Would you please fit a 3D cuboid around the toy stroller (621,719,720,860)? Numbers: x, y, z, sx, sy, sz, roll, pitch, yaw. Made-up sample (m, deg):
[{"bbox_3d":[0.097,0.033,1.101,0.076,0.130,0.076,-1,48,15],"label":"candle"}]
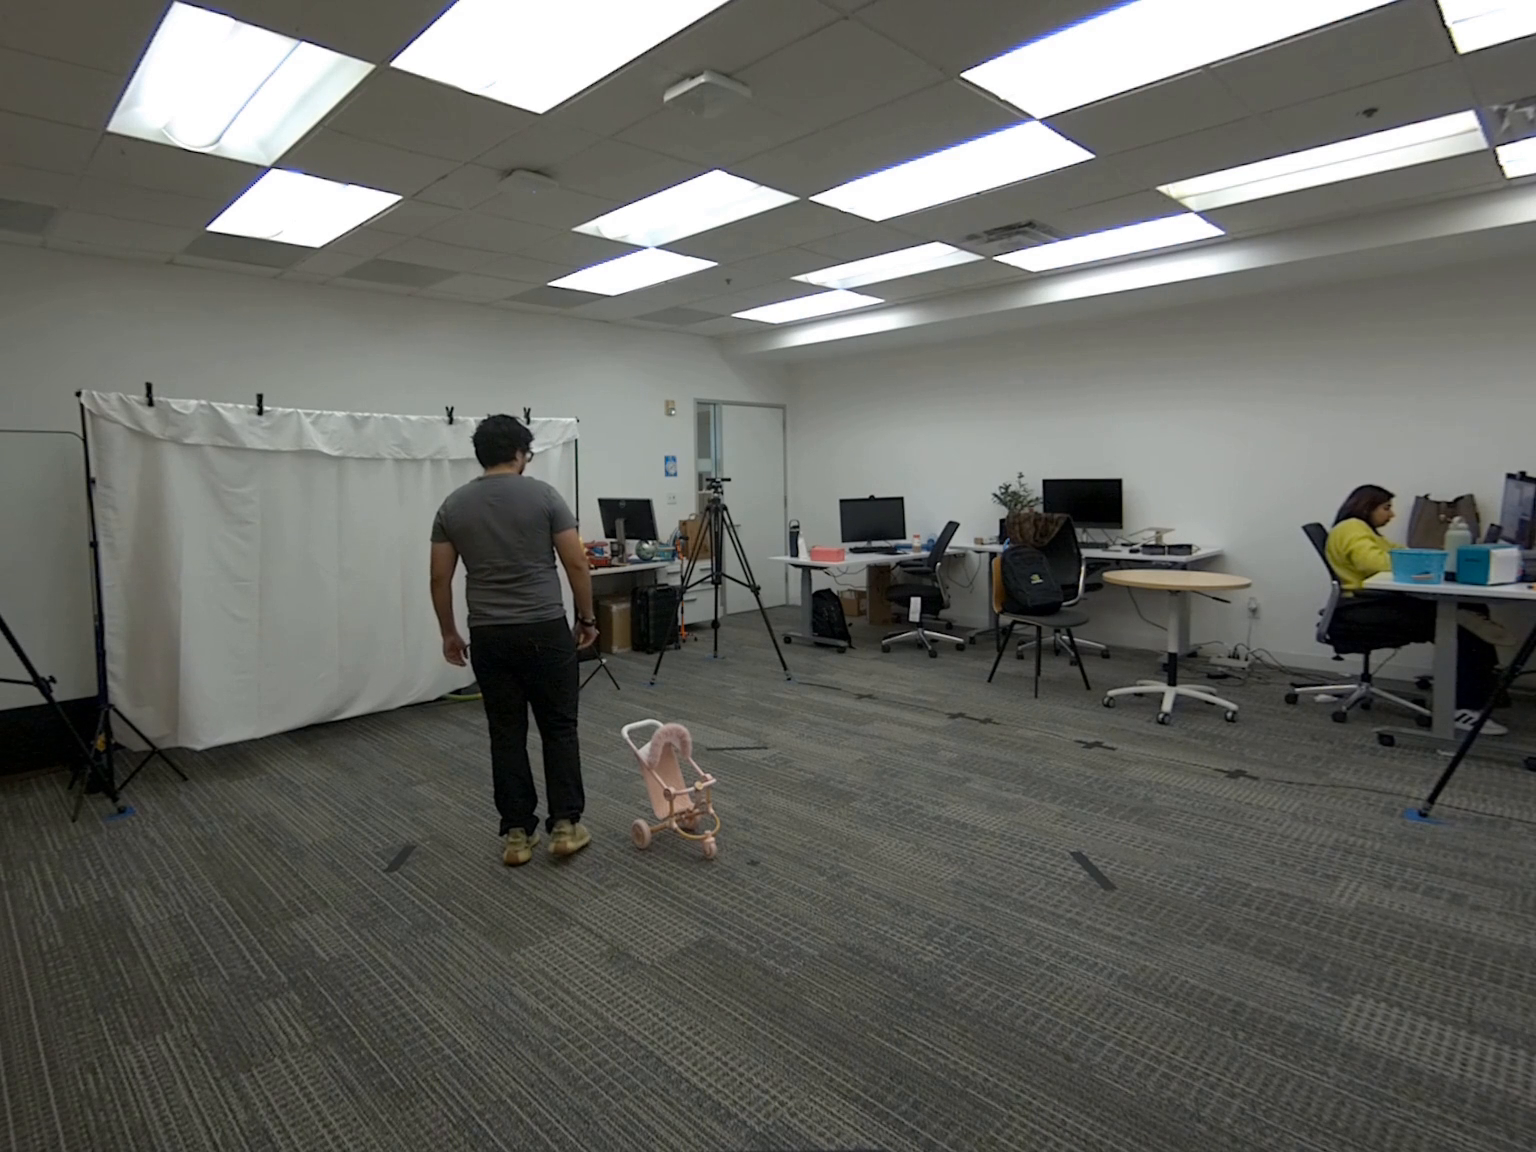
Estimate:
[{"bbox_3d":[-0.357,0.801,3.266,0.274,0.540,0.347,-5,-11,-41],"label":"toy stroller"}]
